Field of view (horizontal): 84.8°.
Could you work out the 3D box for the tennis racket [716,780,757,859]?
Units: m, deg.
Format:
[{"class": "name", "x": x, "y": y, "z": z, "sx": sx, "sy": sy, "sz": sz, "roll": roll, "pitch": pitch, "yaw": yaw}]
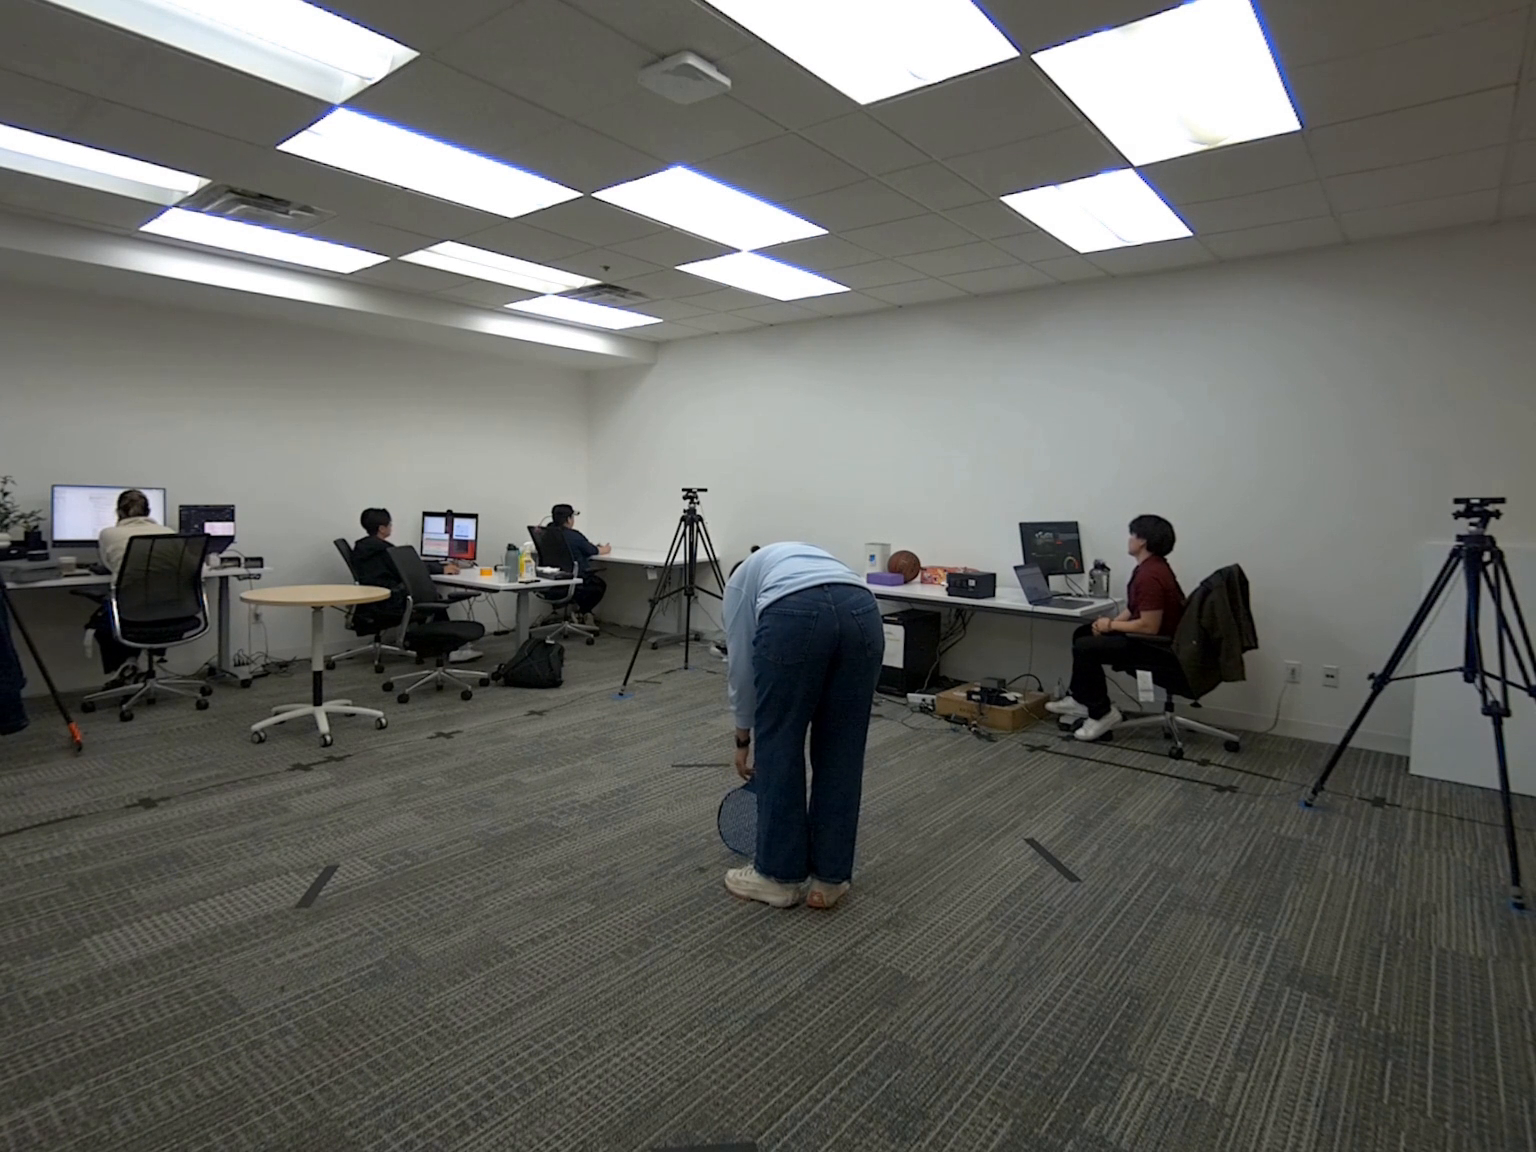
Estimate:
[{"class": "tennis racket", "x": -0.086, "y": 0.851, "z": 3.207, "sx": 0.219, "sy": 0.429, "sz": 0.031, "roll": 14, "pitch": 10, "yaw": 19}]
